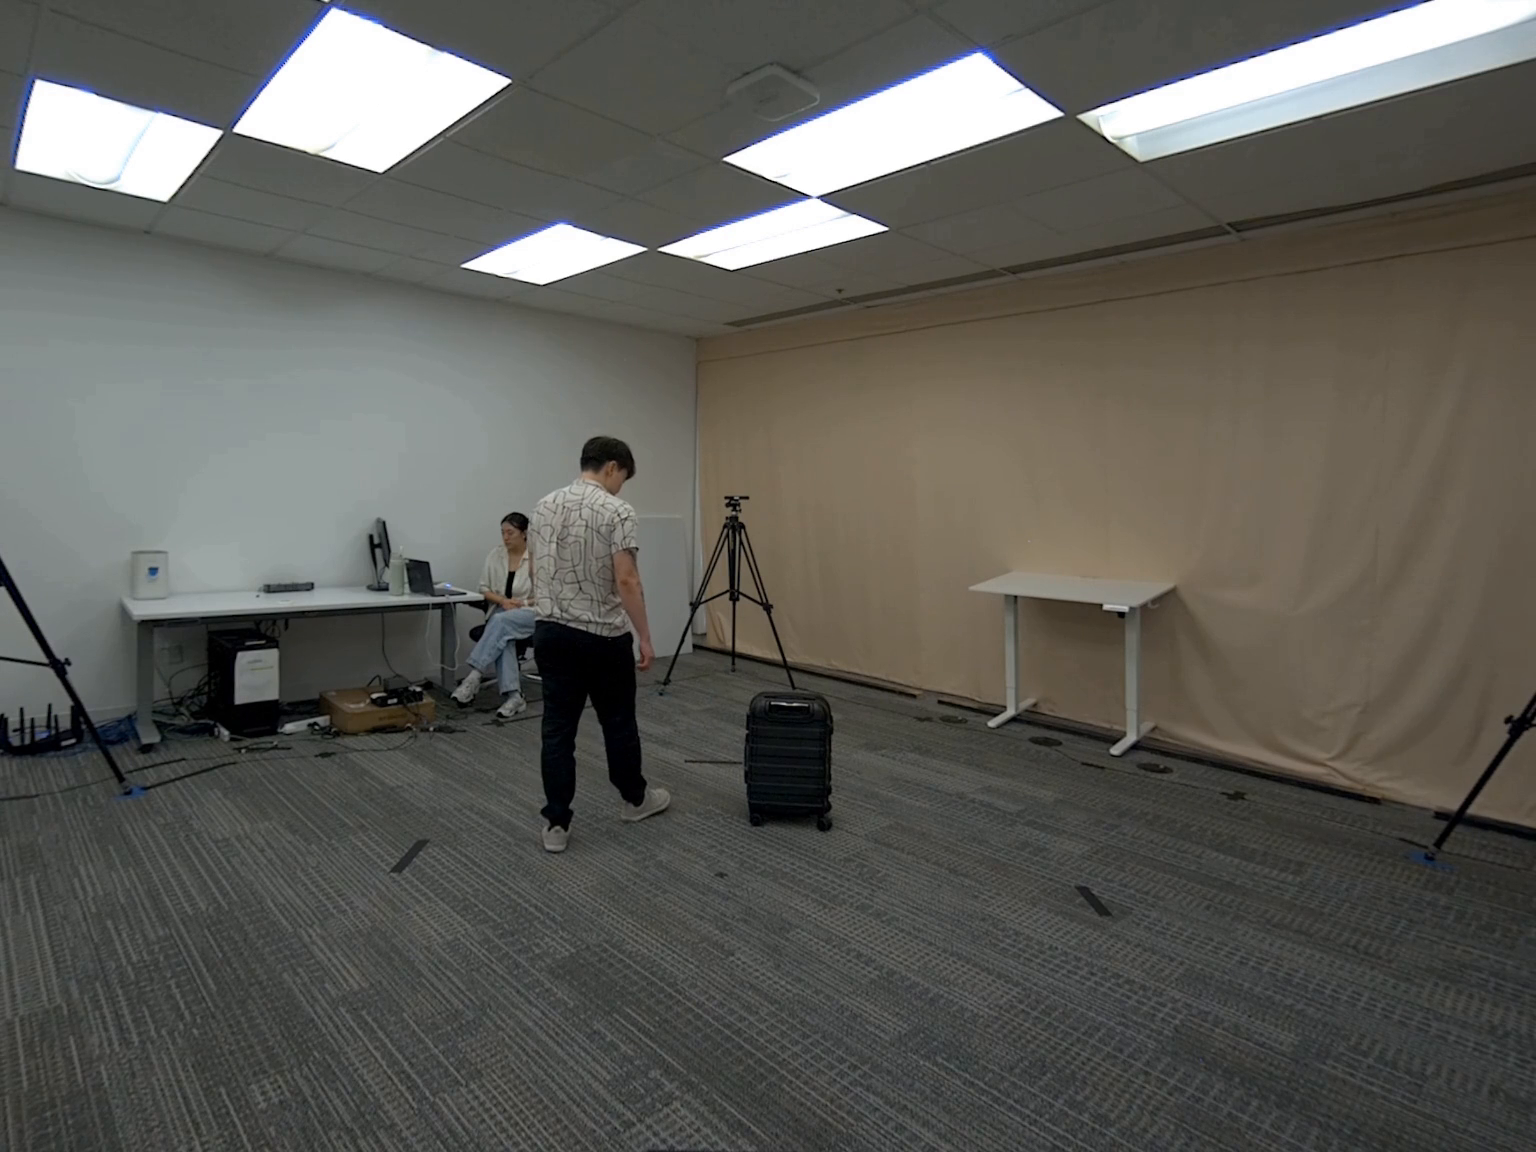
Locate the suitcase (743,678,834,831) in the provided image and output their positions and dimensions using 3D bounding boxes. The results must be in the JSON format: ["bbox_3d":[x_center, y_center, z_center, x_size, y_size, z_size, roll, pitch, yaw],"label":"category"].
[{"bbox_3d":[0.083,0.784,3.683,0.376,0.548,0.248,0,3,3],"label":"suitcase"}]
